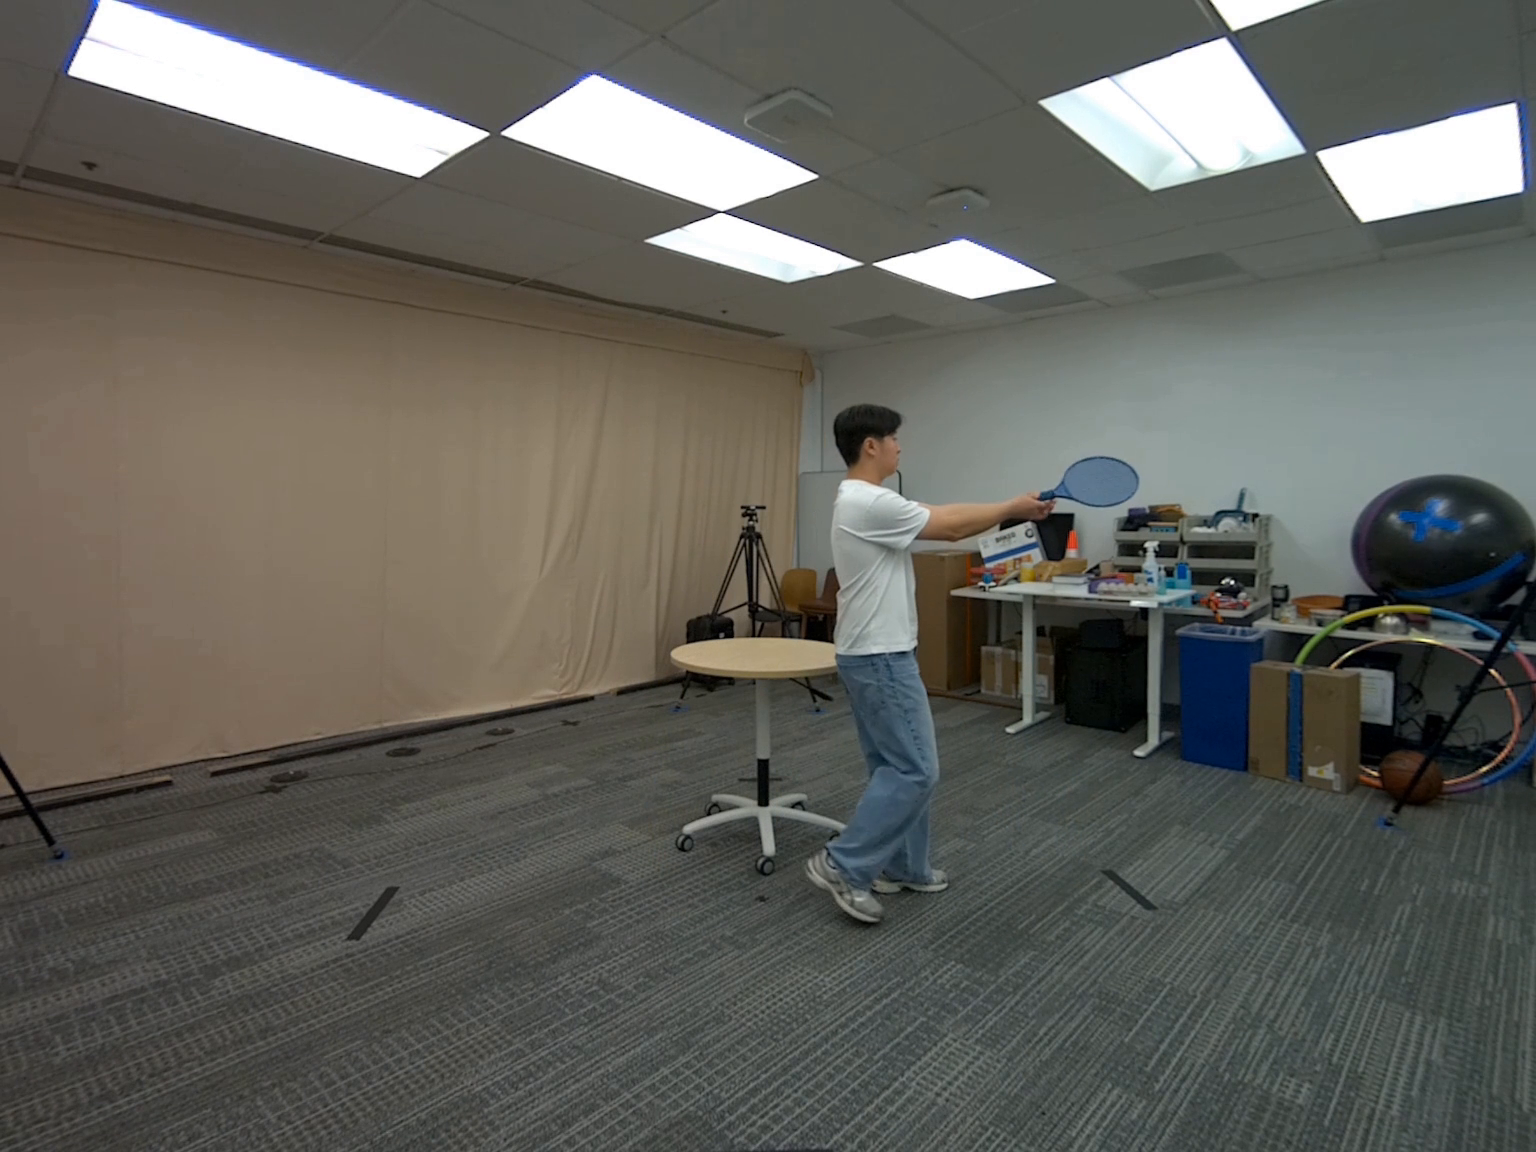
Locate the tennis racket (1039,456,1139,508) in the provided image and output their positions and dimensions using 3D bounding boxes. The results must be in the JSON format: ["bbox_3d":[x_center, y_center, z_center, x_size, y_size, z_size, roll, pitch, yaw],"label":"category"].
[{"bbox_3d":[1.109,-0.307,2.975,0.432,0.218,0.031,-12,-27,-1],"label":"tennis racket"}]
